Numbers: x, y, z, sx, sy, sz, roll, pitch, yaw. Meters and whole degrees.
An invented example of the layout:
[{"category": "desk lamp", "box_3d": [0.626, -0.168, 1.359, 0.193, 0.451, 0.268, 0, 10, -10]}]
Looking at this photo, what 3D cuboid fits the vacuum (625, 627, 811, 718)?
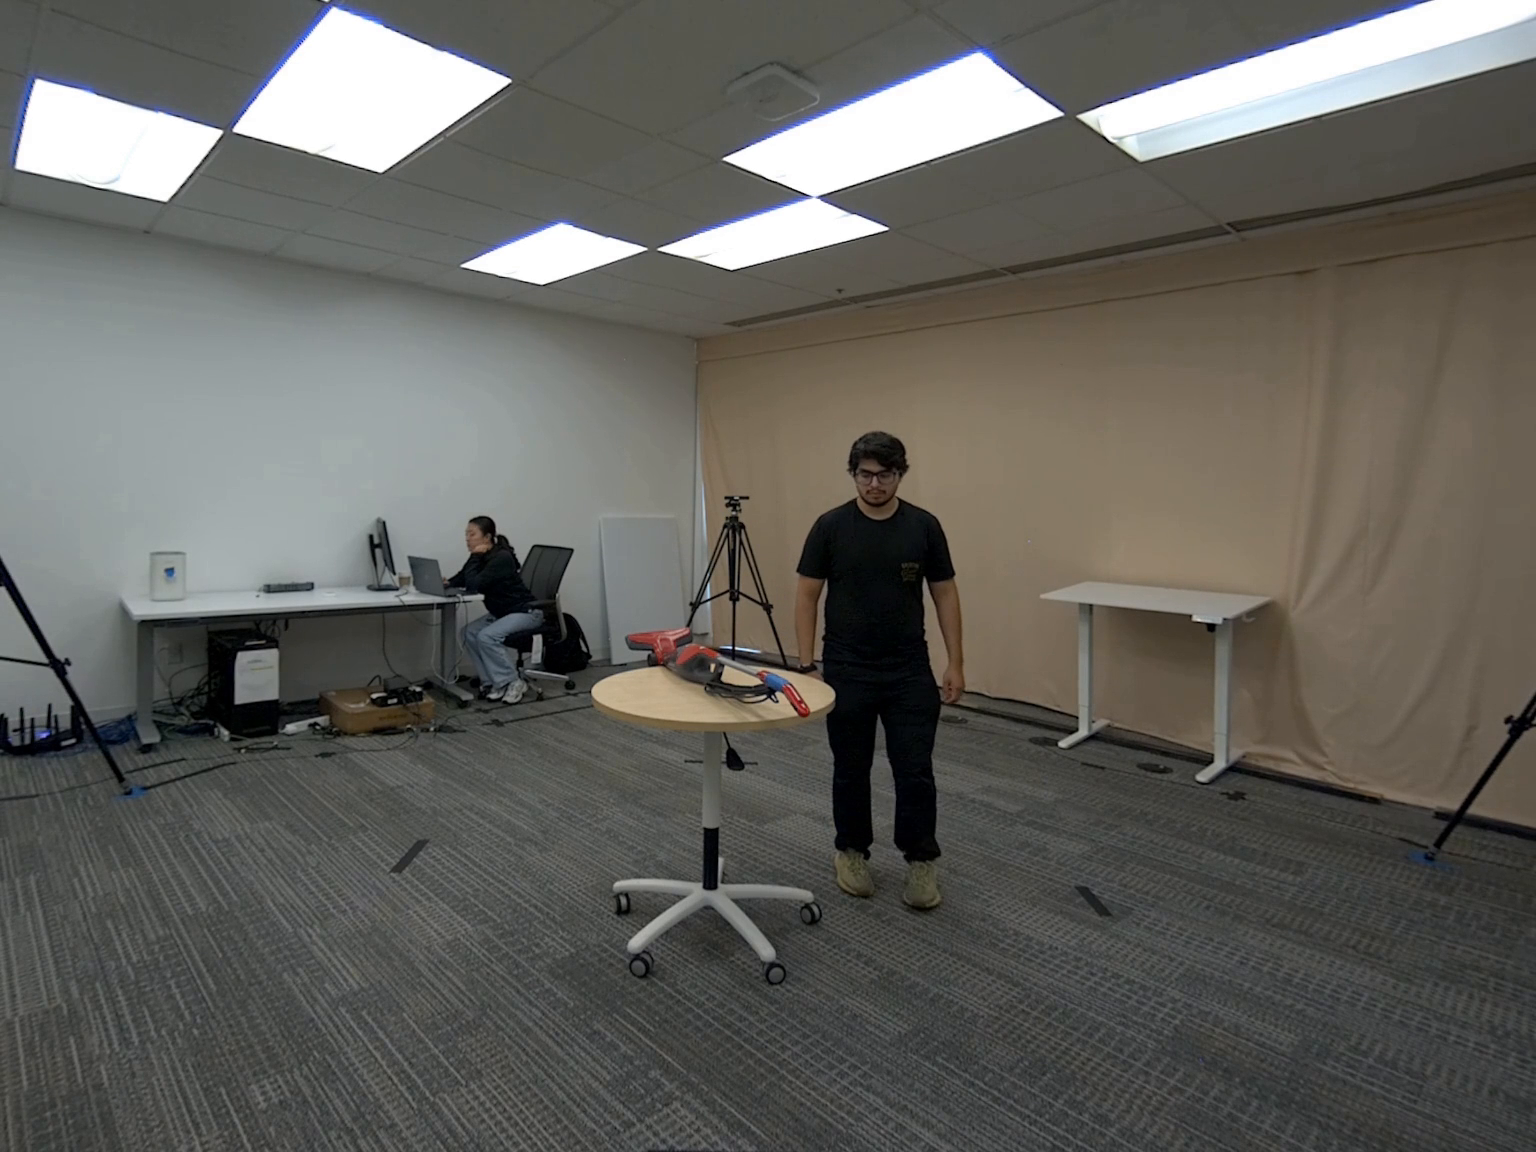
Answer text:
[{"category": "vacuum", "box_3d": [-0.142, 0.315, 2.581, 0.248, 0.143, 1.071, -9, 8, -26]}]
